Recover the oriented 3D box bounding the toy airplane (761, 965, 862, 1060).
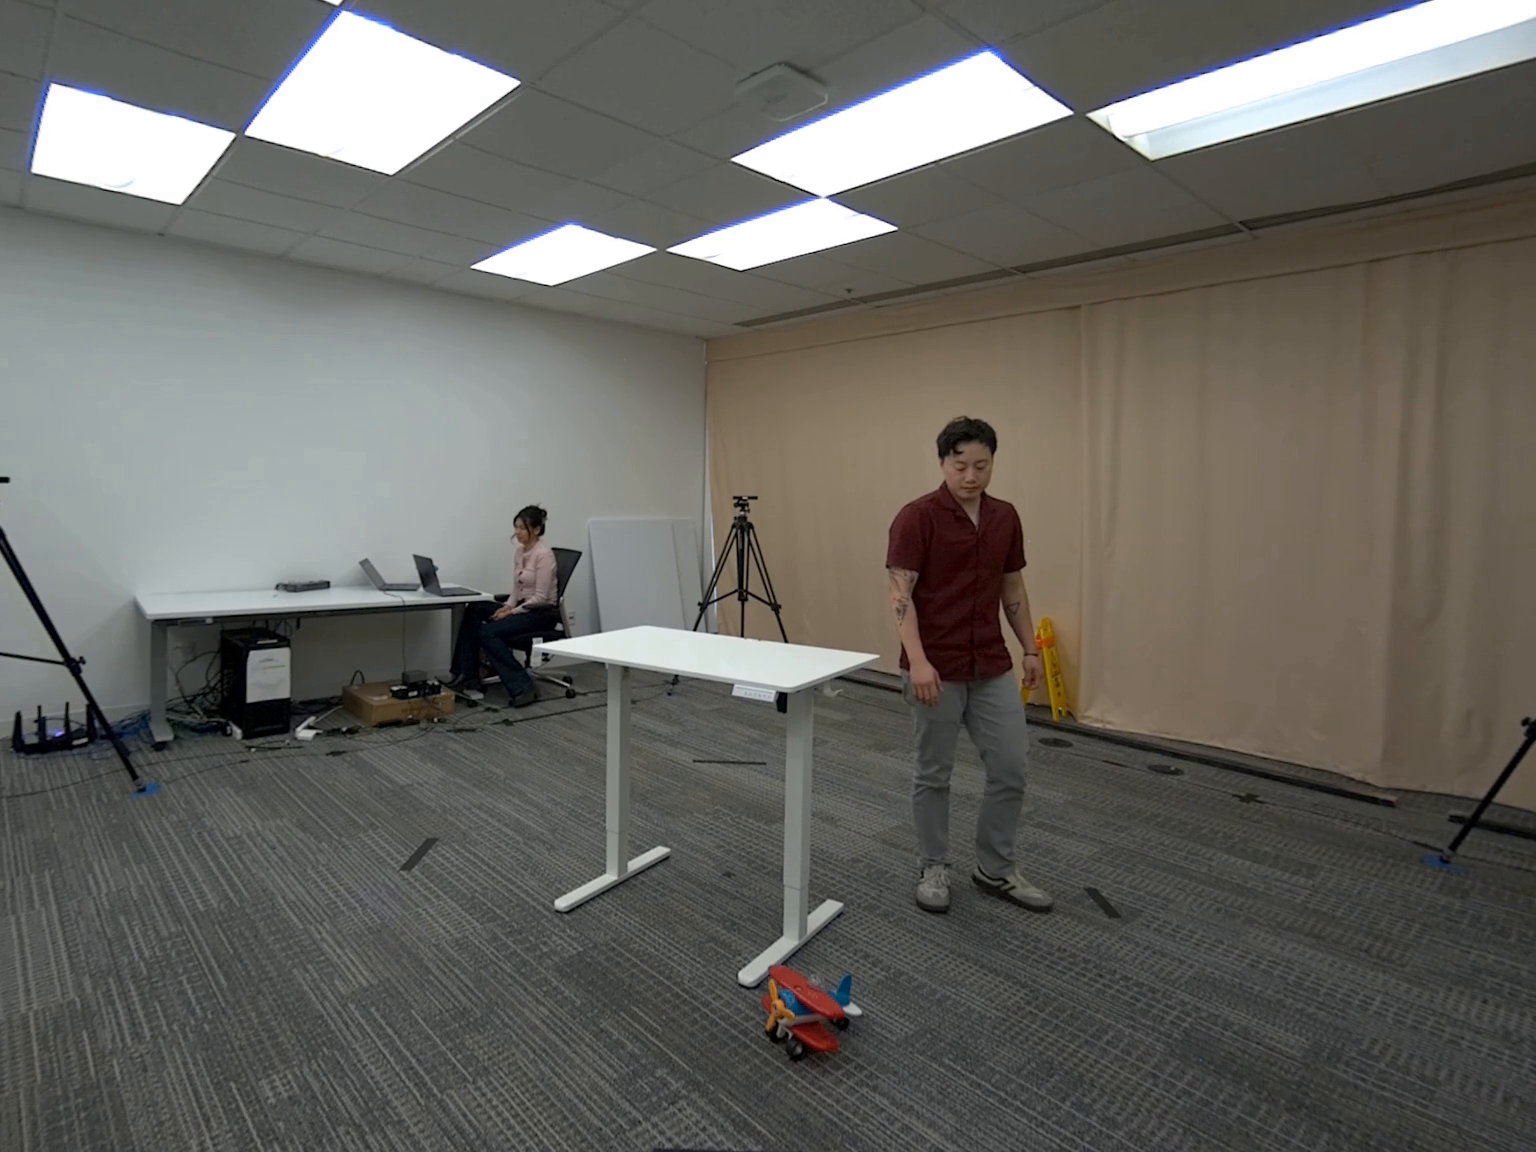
[{"bbox_3d":[0.099,1.127,2.176,0.256,0.156,0.255,4,6,25],"label":"toy airplane"}]
